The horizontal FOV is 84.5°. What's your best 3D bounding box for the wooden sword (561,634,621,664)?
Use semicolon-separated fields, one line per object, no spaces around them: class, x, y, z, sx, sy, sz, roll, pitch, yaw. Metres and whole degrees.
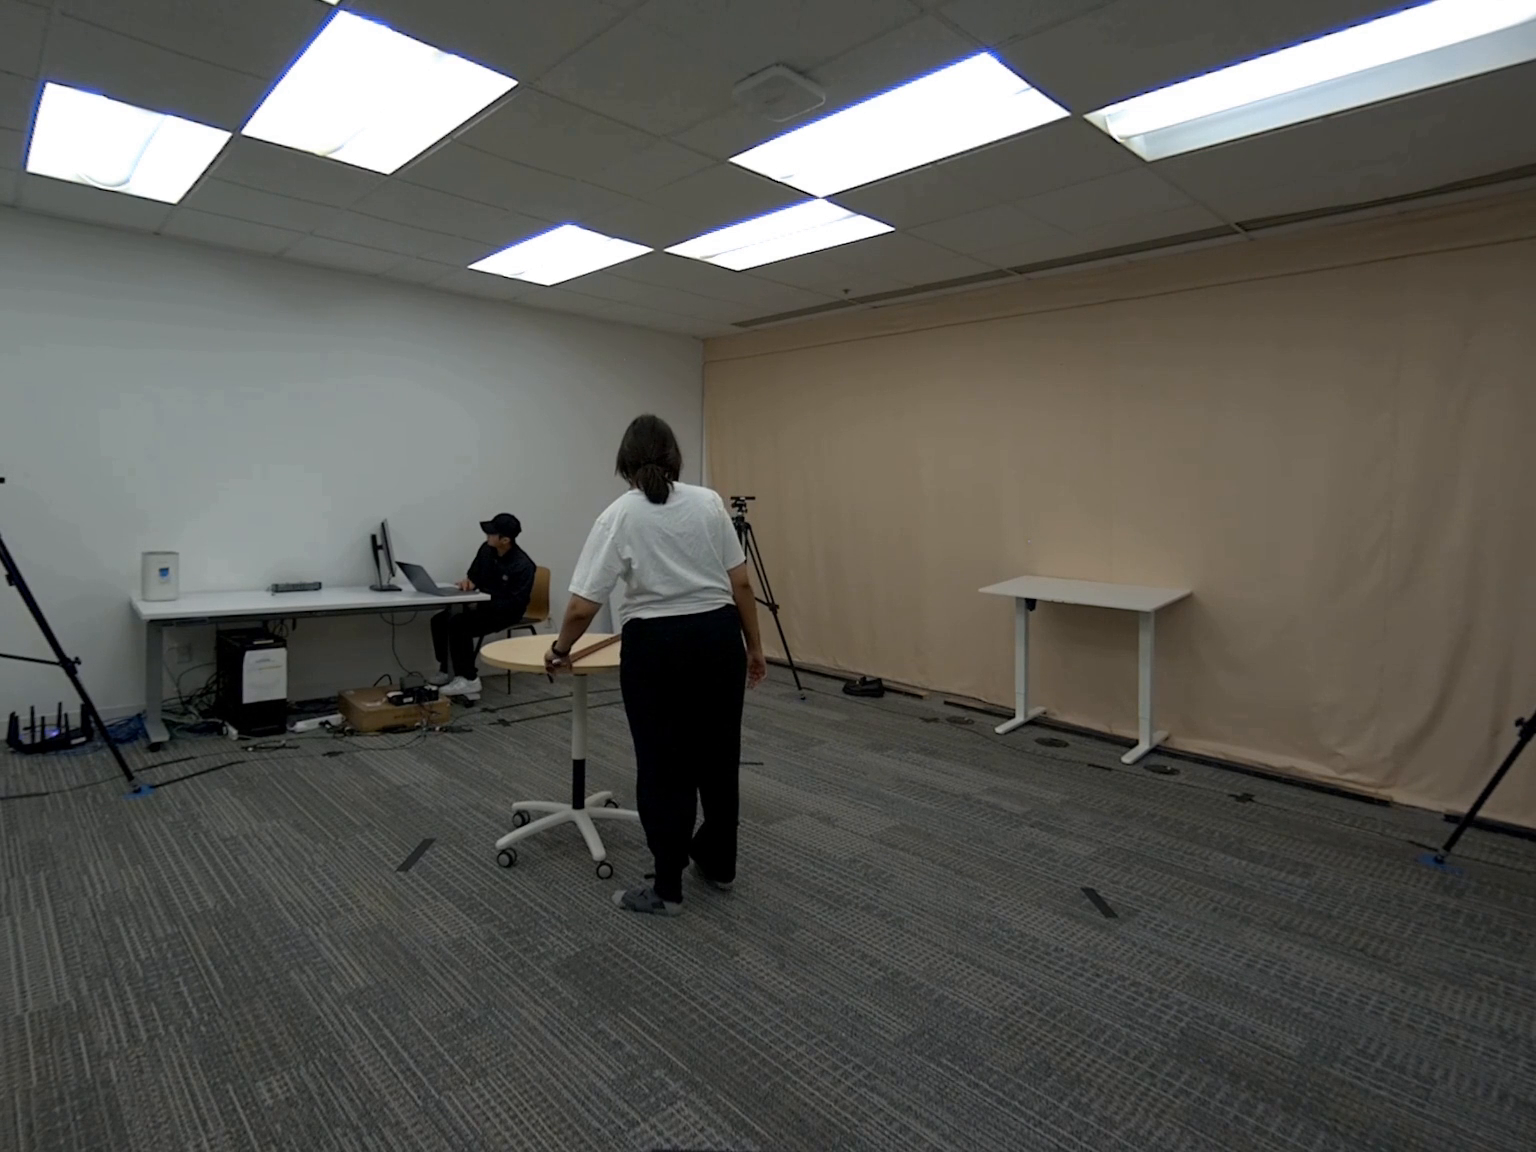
wooden sword;-0.641;0.255;3.323;0.052;0.024;1.018;24;8;7
